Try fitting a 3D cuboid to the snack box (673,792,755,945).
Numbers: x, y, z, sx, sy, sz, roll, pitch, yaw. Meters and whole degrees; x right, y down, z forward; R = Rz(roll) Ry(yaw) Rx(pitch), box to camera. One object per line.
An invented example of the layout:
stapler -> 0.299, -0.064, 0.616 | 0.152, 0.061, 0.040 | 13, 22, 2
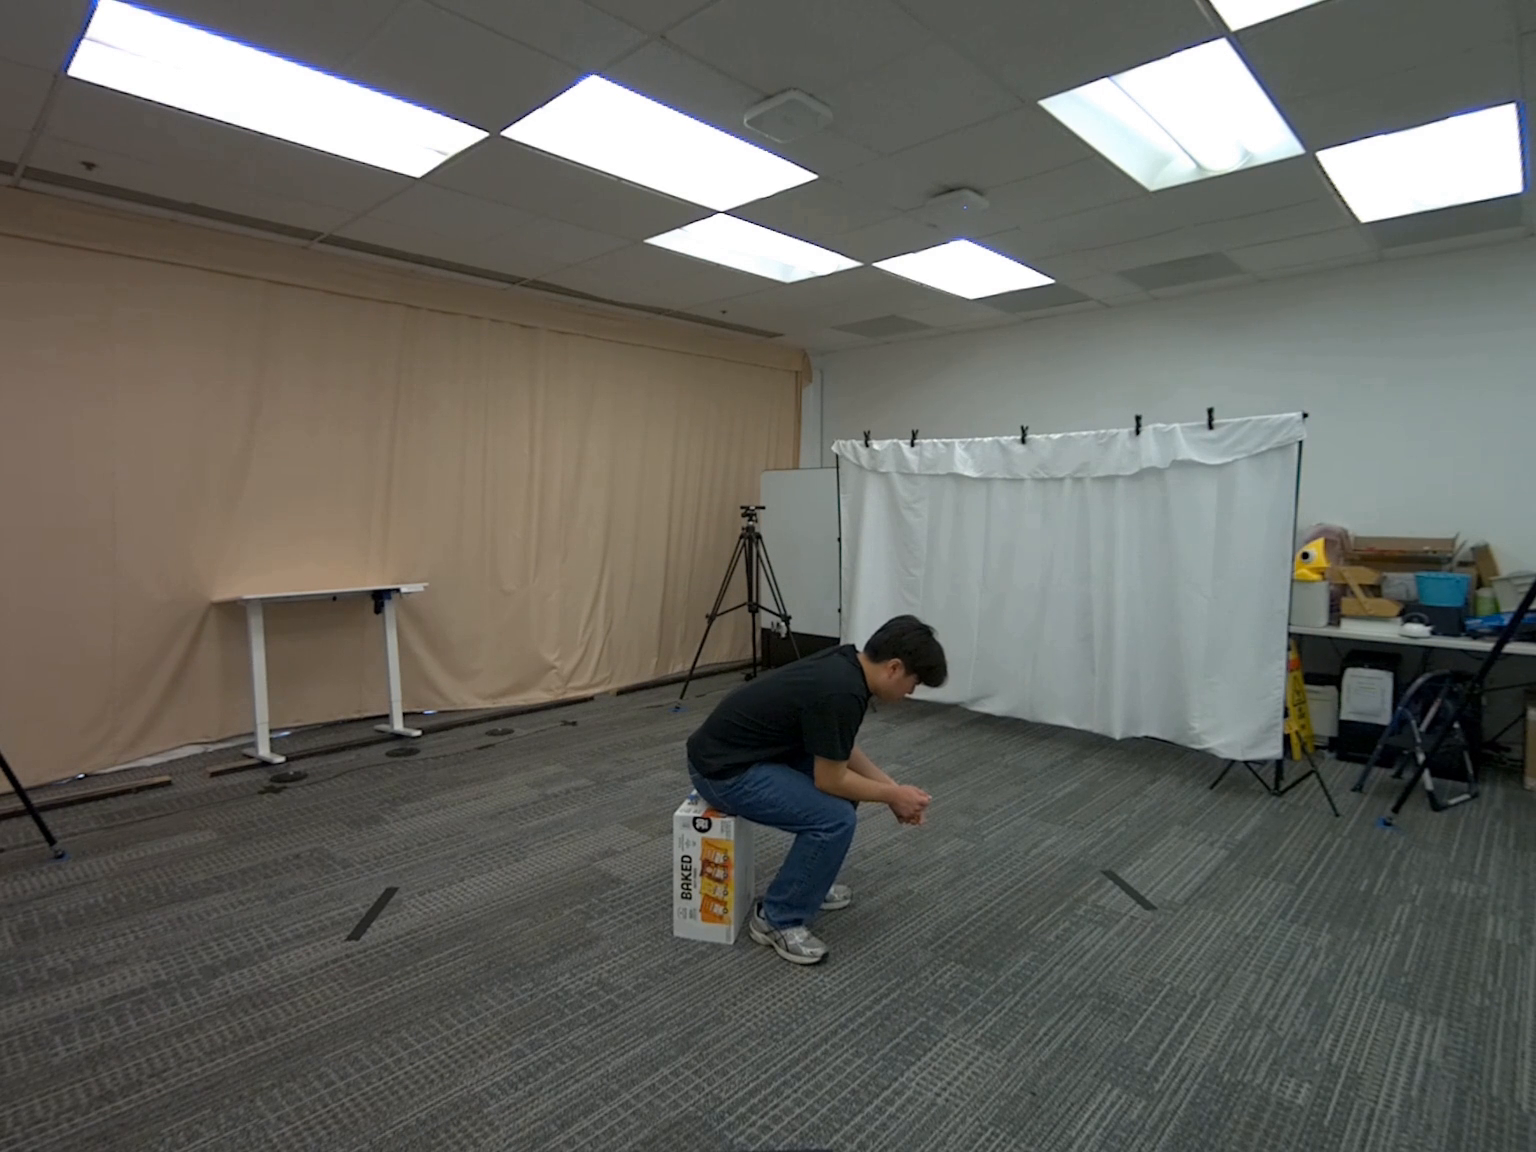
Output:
snack box -> -0.172, 0.956, 2.851 | 0.208, 0.404, 0.336 | 1, 3, 12
